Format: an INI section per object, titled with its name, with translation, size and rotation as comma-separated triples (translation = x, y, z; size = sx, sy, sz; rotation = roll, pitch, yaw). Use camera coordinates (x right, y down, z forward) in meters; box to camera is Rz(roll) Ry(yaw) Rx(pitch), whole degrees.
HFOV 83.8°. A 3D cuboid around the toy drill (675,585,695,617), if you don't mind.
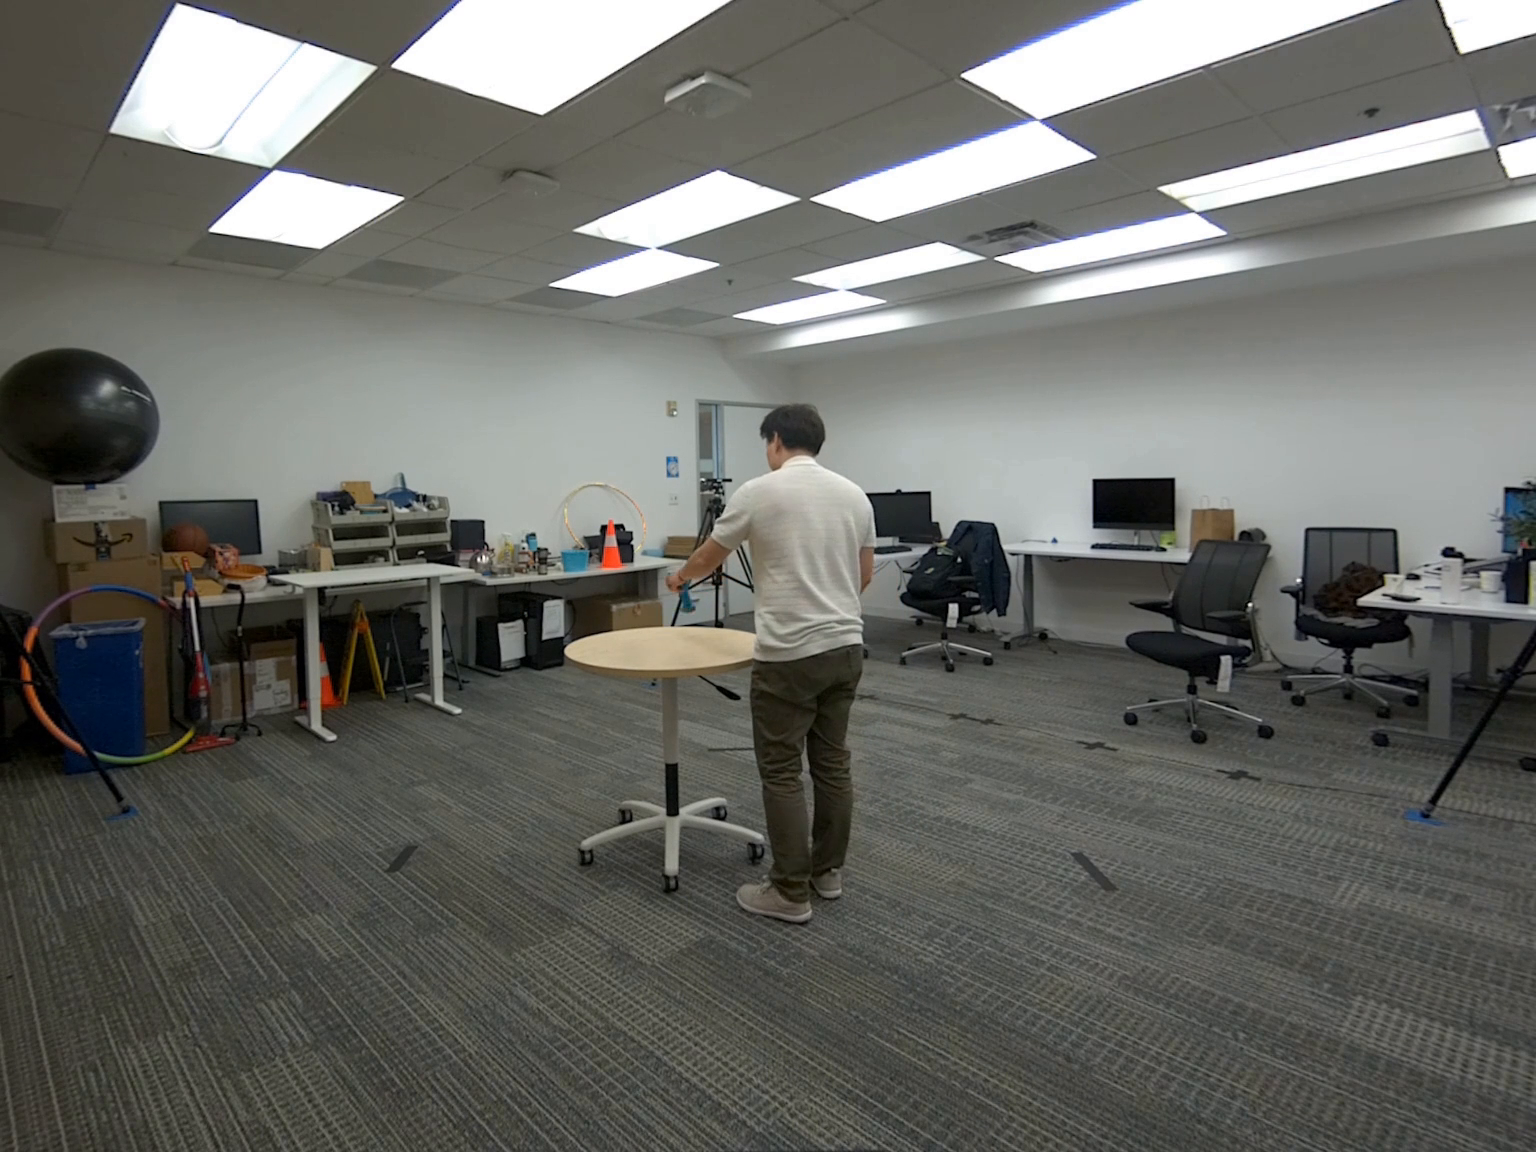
[toy drill]
translation = -0.350, 0.066, 3.304
size = 0.174, 0.146, 0.059
rotation = -3, 2, 40
